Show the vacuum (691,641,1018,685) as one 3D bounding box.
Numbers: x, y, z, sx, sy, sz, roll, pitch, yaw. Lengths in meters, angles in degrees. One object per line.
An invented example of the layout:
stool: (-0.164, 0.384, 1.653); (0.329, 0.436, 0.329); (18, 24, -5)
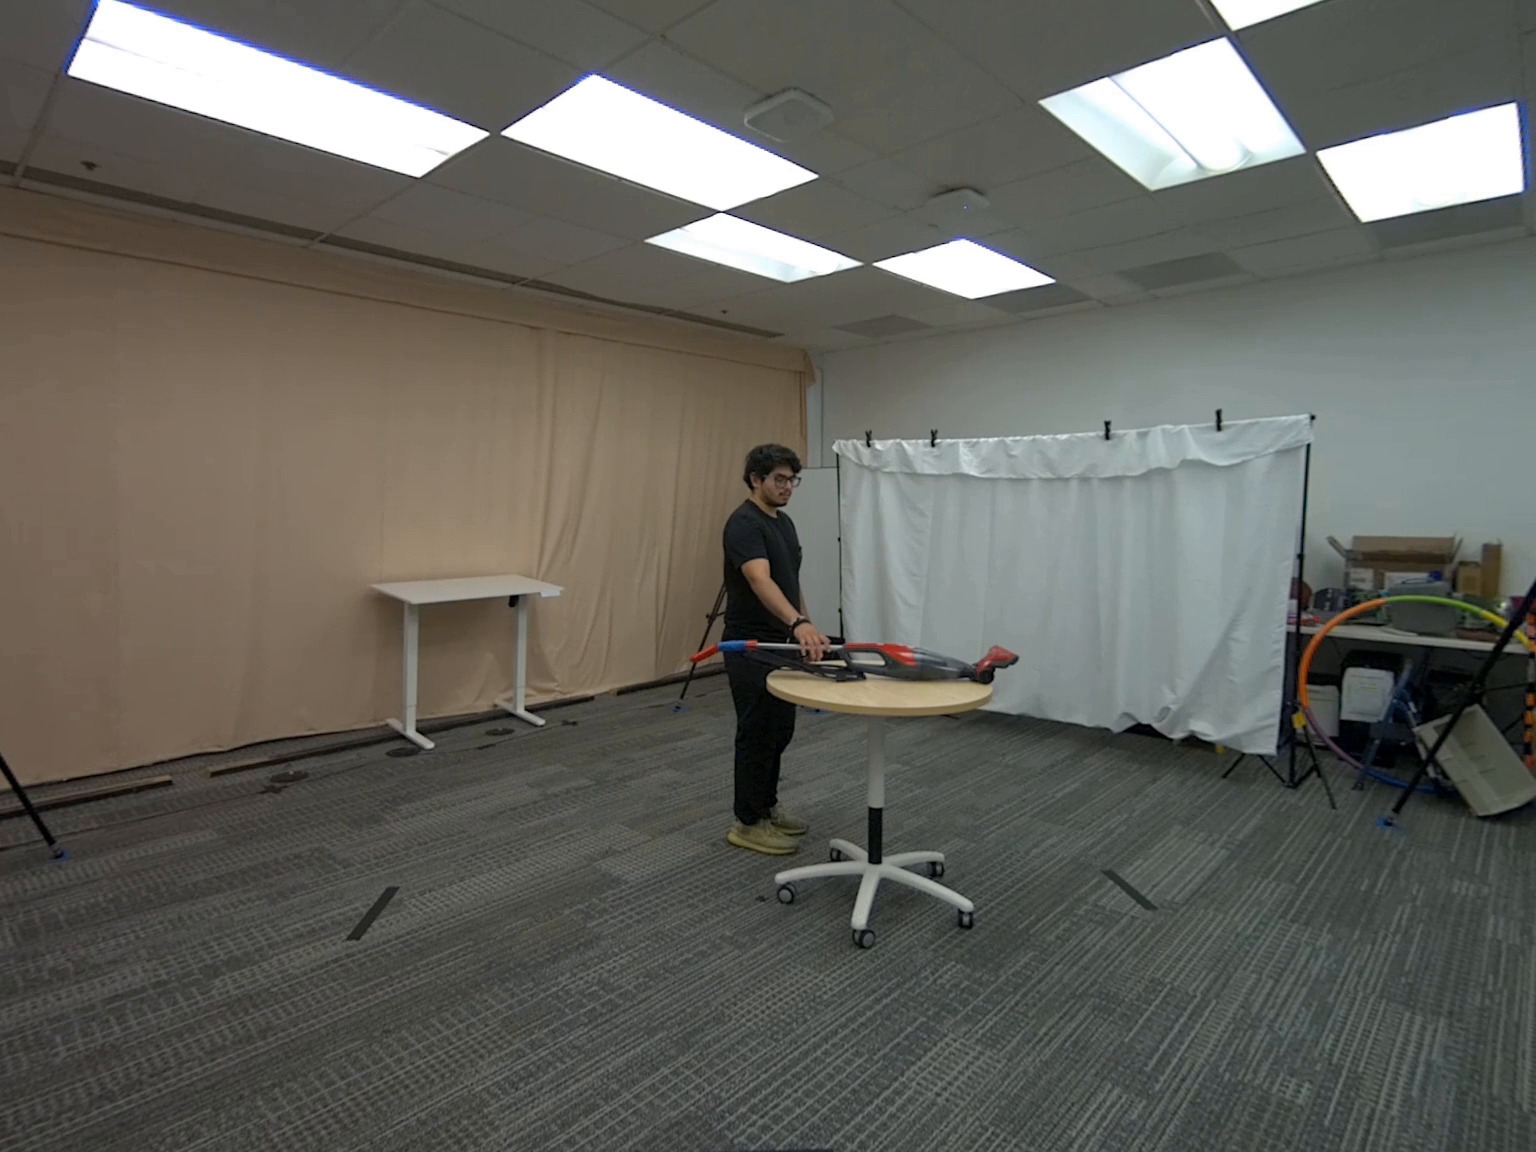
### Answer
vacuum: (0.270, 0.301, 2.962); (1.055, 0.143, 0.252); (2, 7, 4)
